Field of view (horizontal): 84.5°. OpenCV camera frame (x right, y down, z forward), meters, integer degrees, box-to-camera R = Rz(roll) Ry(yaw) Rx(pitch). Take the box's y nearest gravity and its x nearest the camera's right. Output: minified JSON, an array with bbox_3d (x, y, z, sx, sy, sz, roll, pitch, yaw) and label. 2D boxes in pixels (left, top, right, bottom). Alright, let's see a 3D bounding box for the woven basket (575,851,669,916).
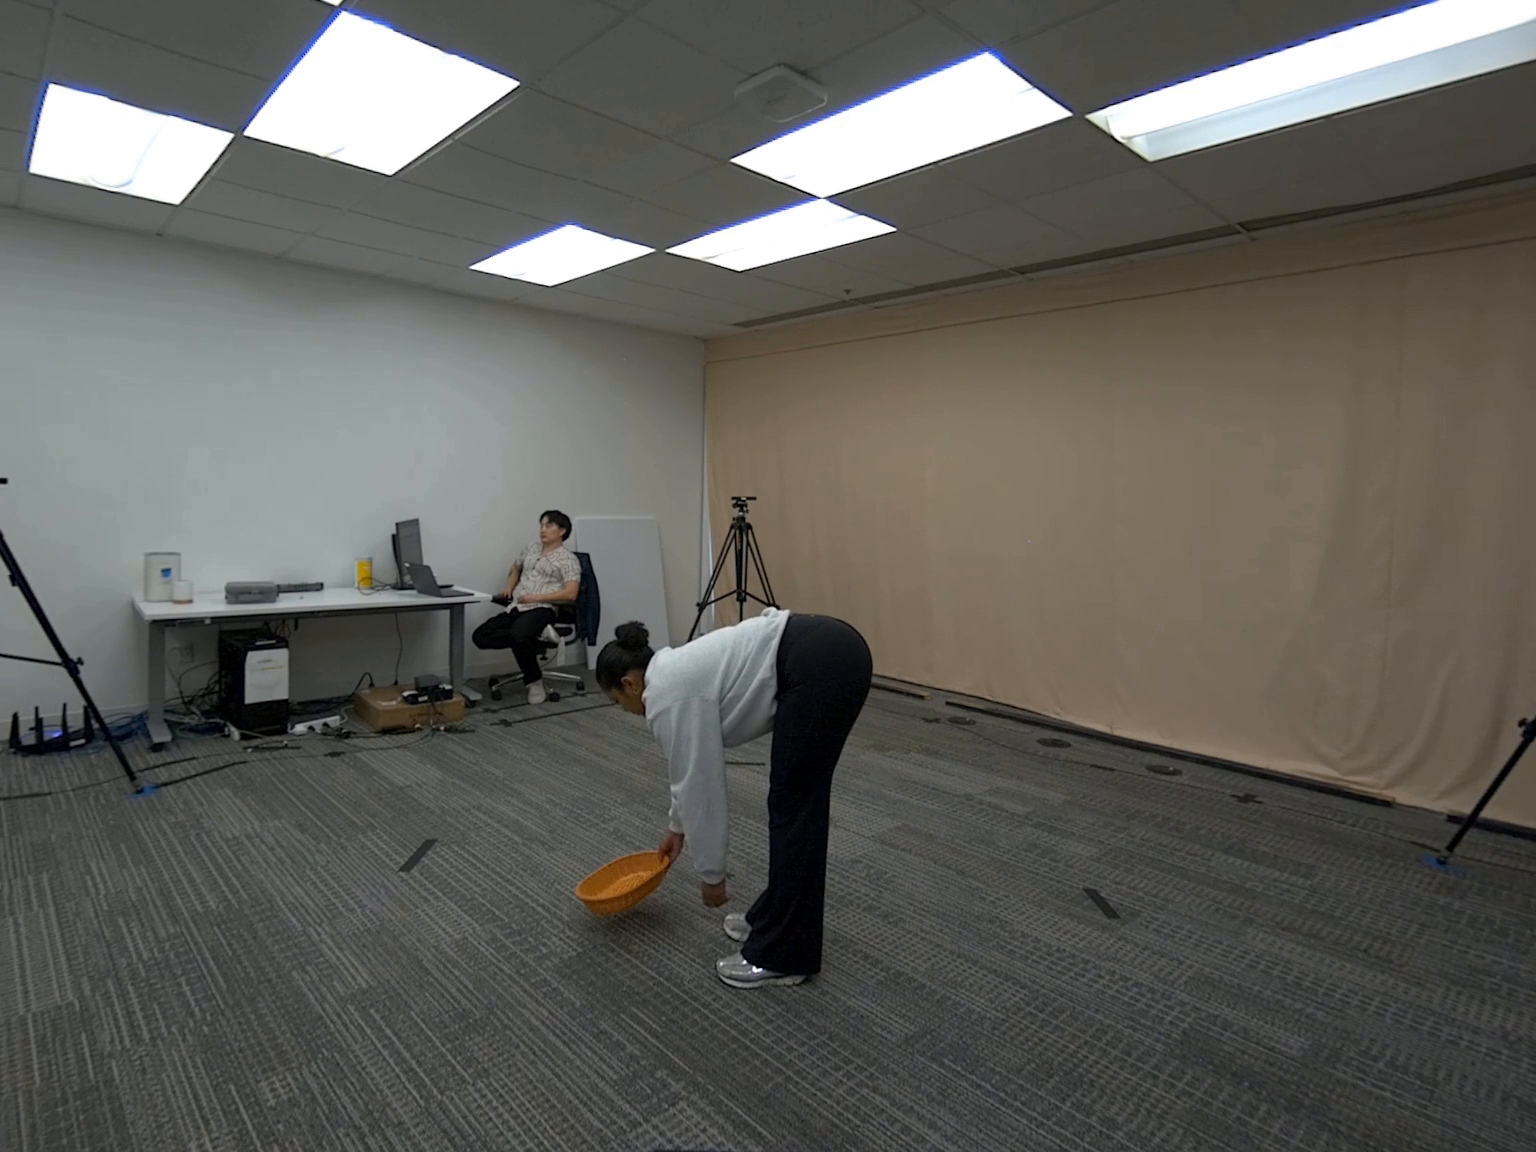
[{"bbox_3d":[-0.475,1.011,2.750,0.257,0.073,0.344,-7,5,34],"label":"woven basket"}]
